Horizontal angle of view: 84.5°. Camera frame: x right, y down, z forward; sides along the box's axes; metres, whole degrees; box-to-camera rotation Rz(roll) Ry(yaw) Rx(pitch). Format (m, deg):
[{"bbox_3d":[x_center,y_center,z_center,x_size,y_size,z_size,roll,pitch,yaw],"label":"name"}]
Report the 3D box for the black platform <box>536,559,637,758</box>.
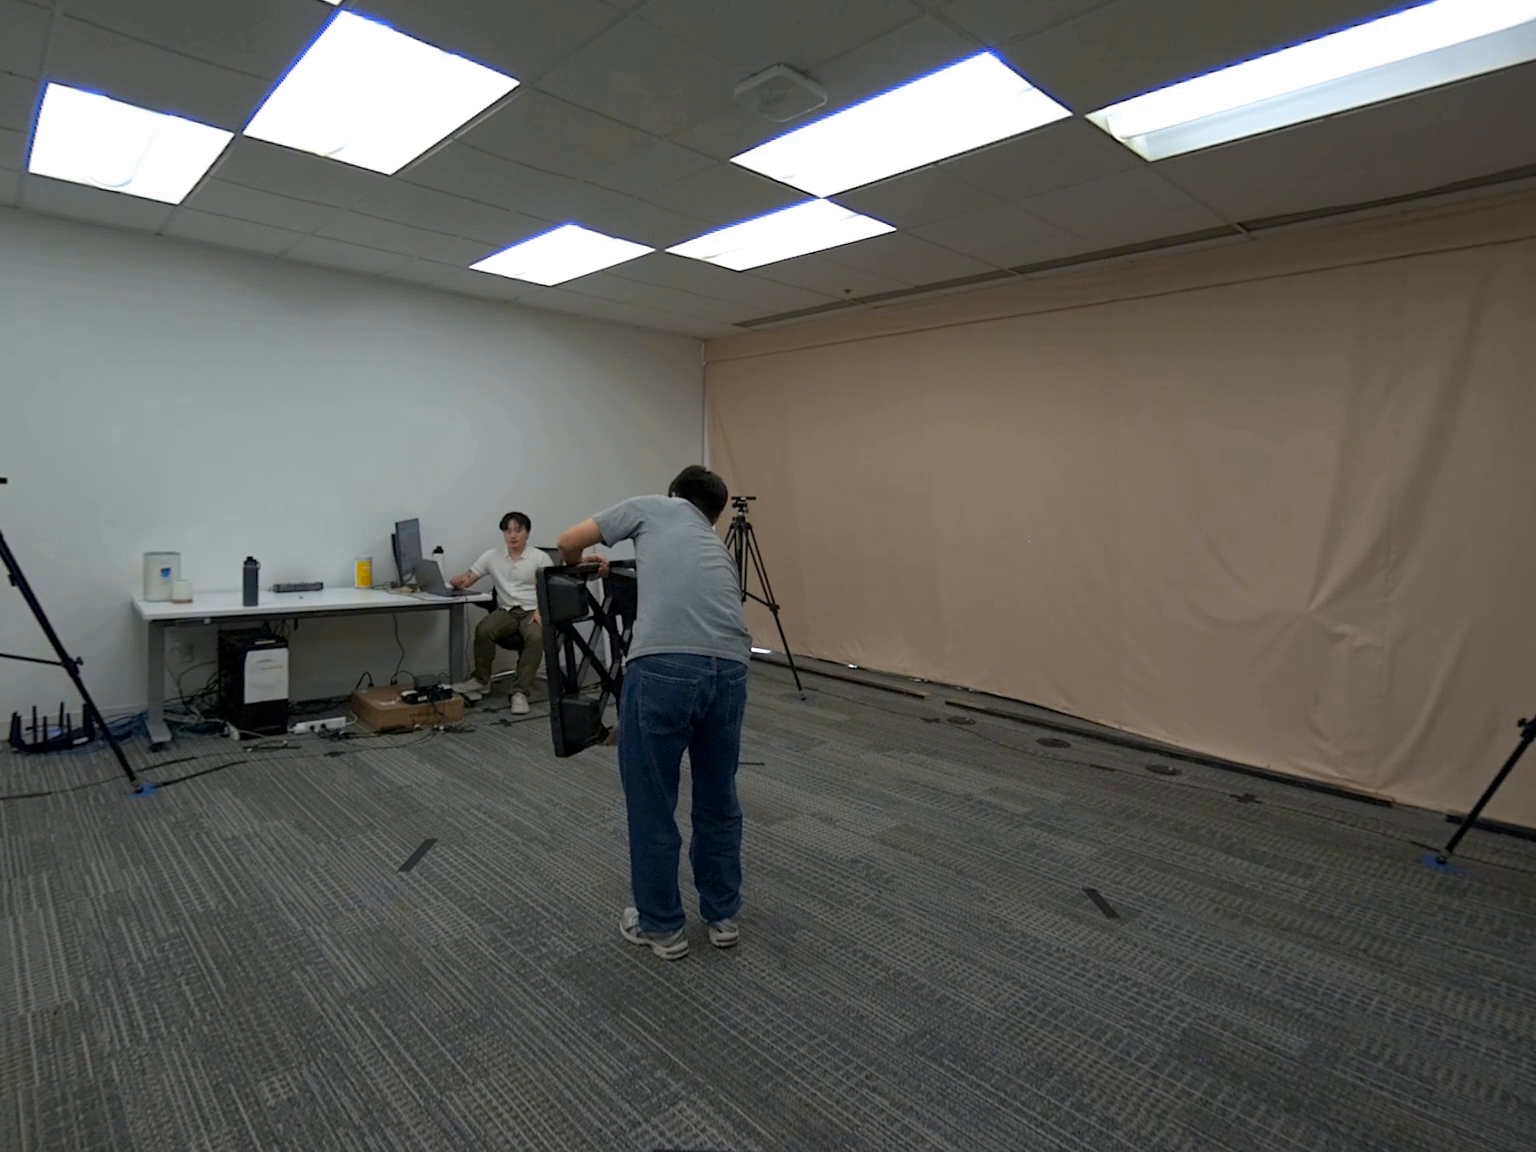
[{"bbox_3d":[-0.468,0.245,2.965,0.145,0.605,0.792,-7,1,24],"label":"black platform"}]
